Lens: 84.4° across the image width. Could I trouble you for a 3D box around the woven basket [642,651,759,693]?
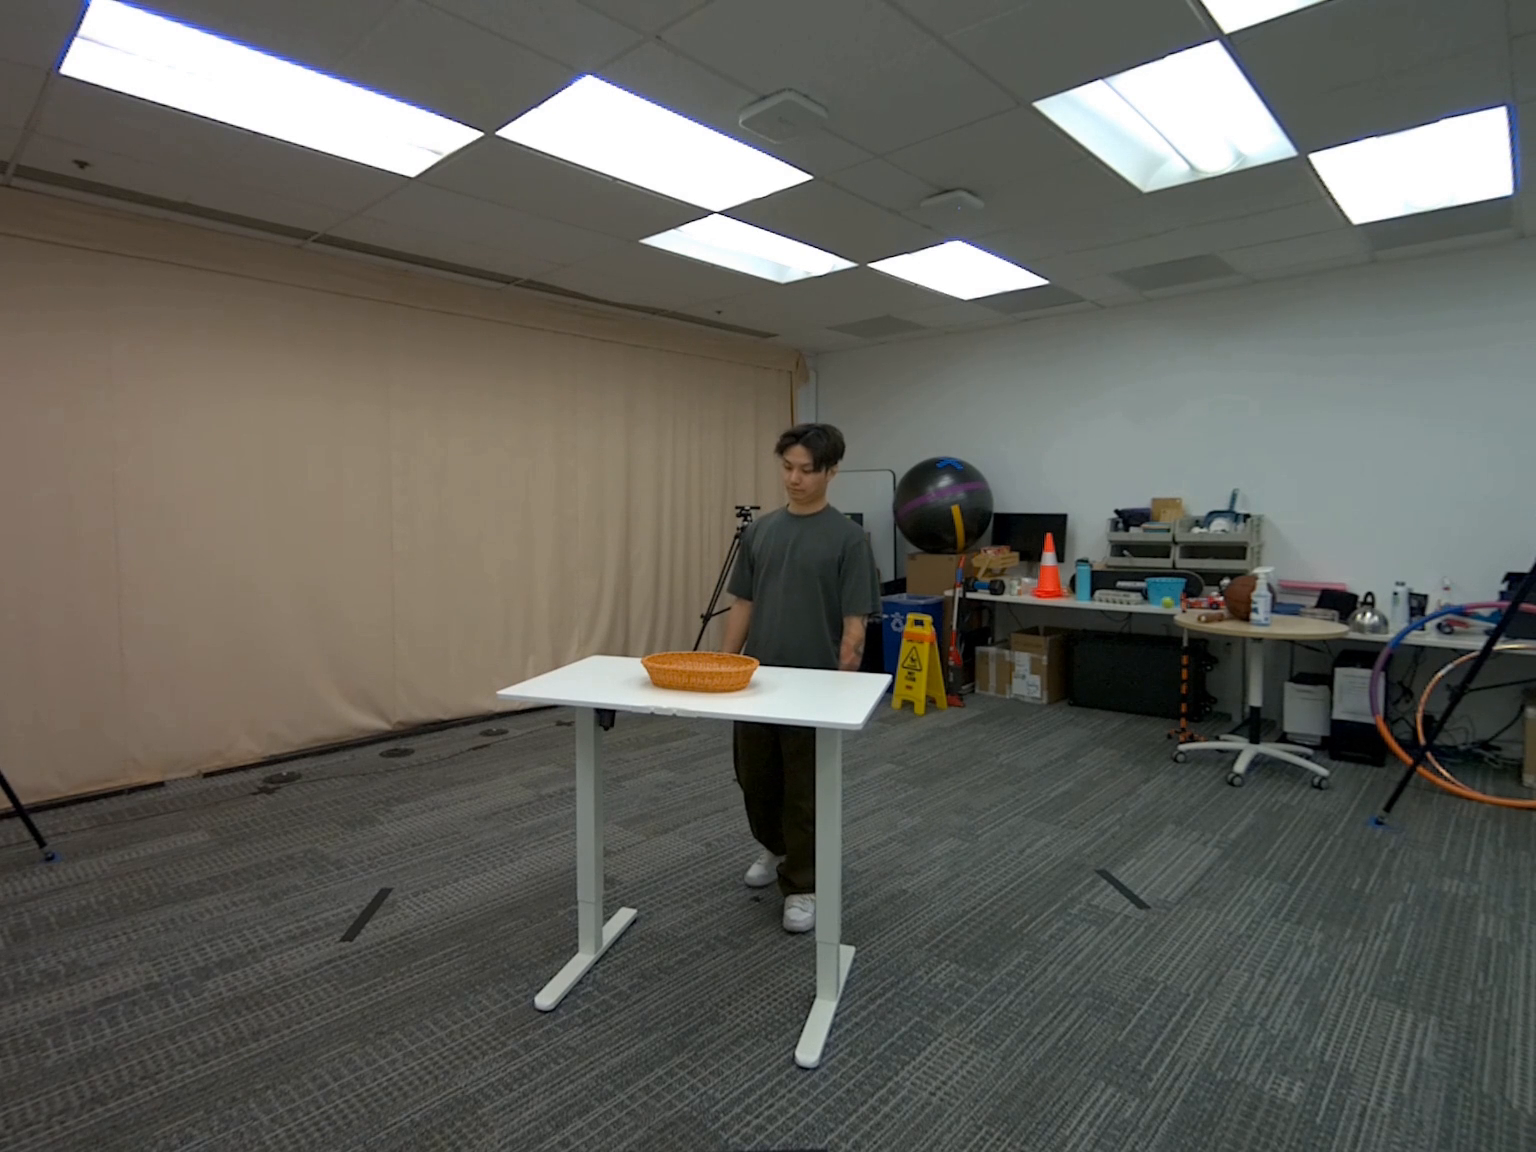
[{"bbox_3d":[-0.200,0.283,2.398,0.358,0.073,0.247,2,5,20],"label":"woven basket"}]
